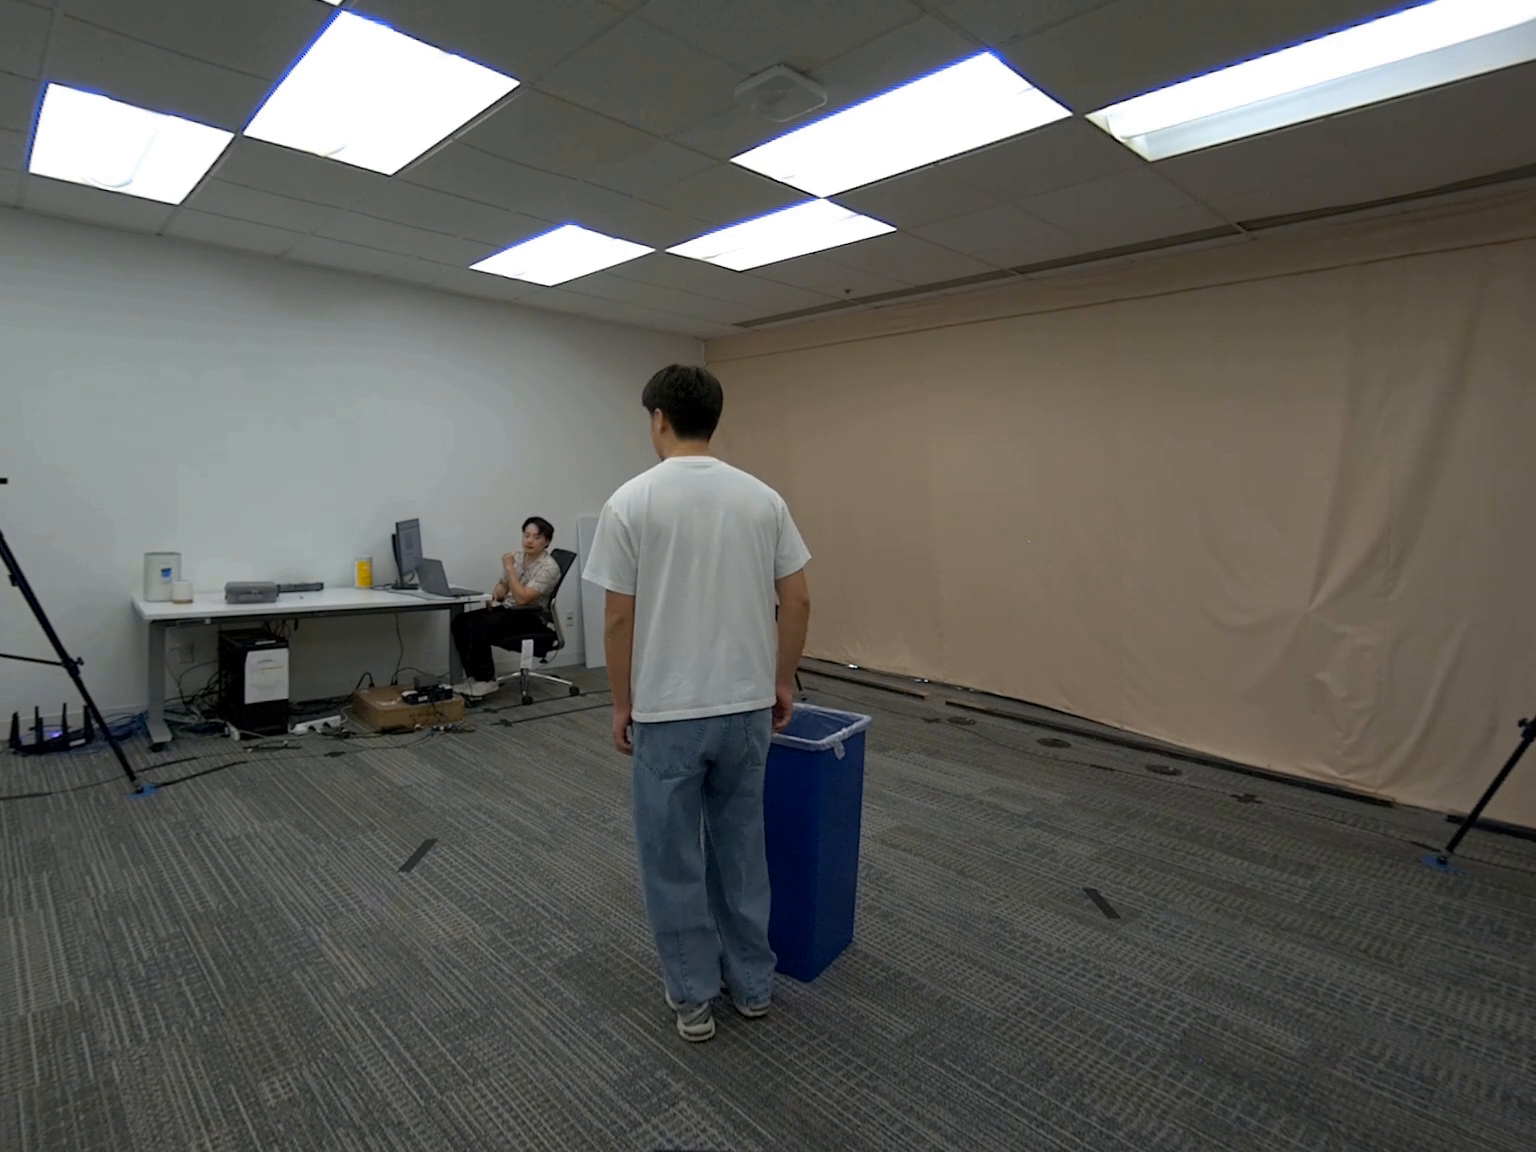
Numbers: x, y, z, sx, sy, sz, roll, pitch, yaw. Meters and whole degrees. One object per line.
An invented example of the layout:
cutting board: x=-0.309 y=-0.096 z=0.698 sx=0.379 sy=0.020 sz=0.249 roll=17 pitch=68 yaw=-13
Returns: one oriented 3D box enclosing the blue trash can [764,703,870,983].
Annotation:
blue trash can: x=0.068 y=0.797 z=2.607 sx=0.382 sy=0.712 sz=0.370 roll=4 pitch=4 yaw=31
